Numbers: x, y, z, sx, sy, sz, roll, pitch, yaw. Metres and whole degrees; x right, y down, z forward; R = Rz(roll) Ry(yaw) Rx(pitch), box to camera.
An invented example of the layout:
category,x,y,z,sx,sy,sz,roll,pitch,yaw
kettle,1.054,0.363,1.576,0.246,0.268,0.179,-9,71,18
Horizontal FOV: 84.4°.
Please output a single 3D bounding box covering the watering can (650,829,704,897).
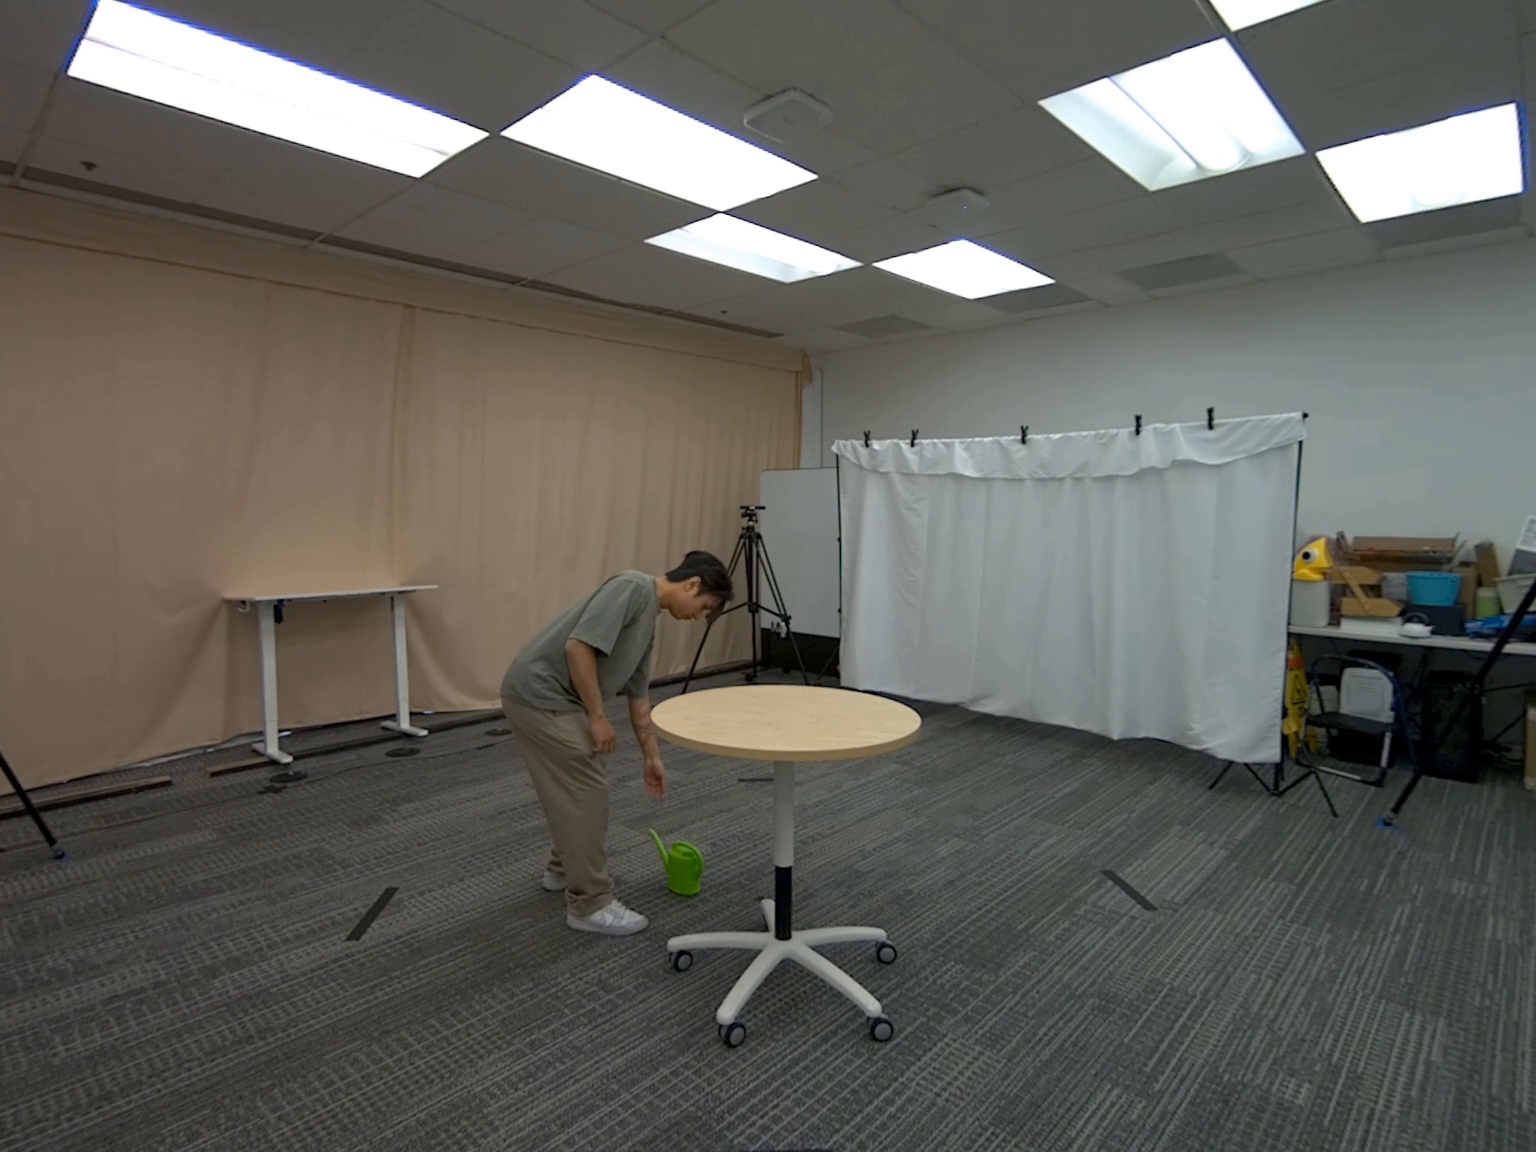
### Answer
category,x,y,z,sx,sy,sz,roll,pitch,yaw
watering can,-0.326,1.044,3.080,0.095,0.176,0.287,-2,5,-38
